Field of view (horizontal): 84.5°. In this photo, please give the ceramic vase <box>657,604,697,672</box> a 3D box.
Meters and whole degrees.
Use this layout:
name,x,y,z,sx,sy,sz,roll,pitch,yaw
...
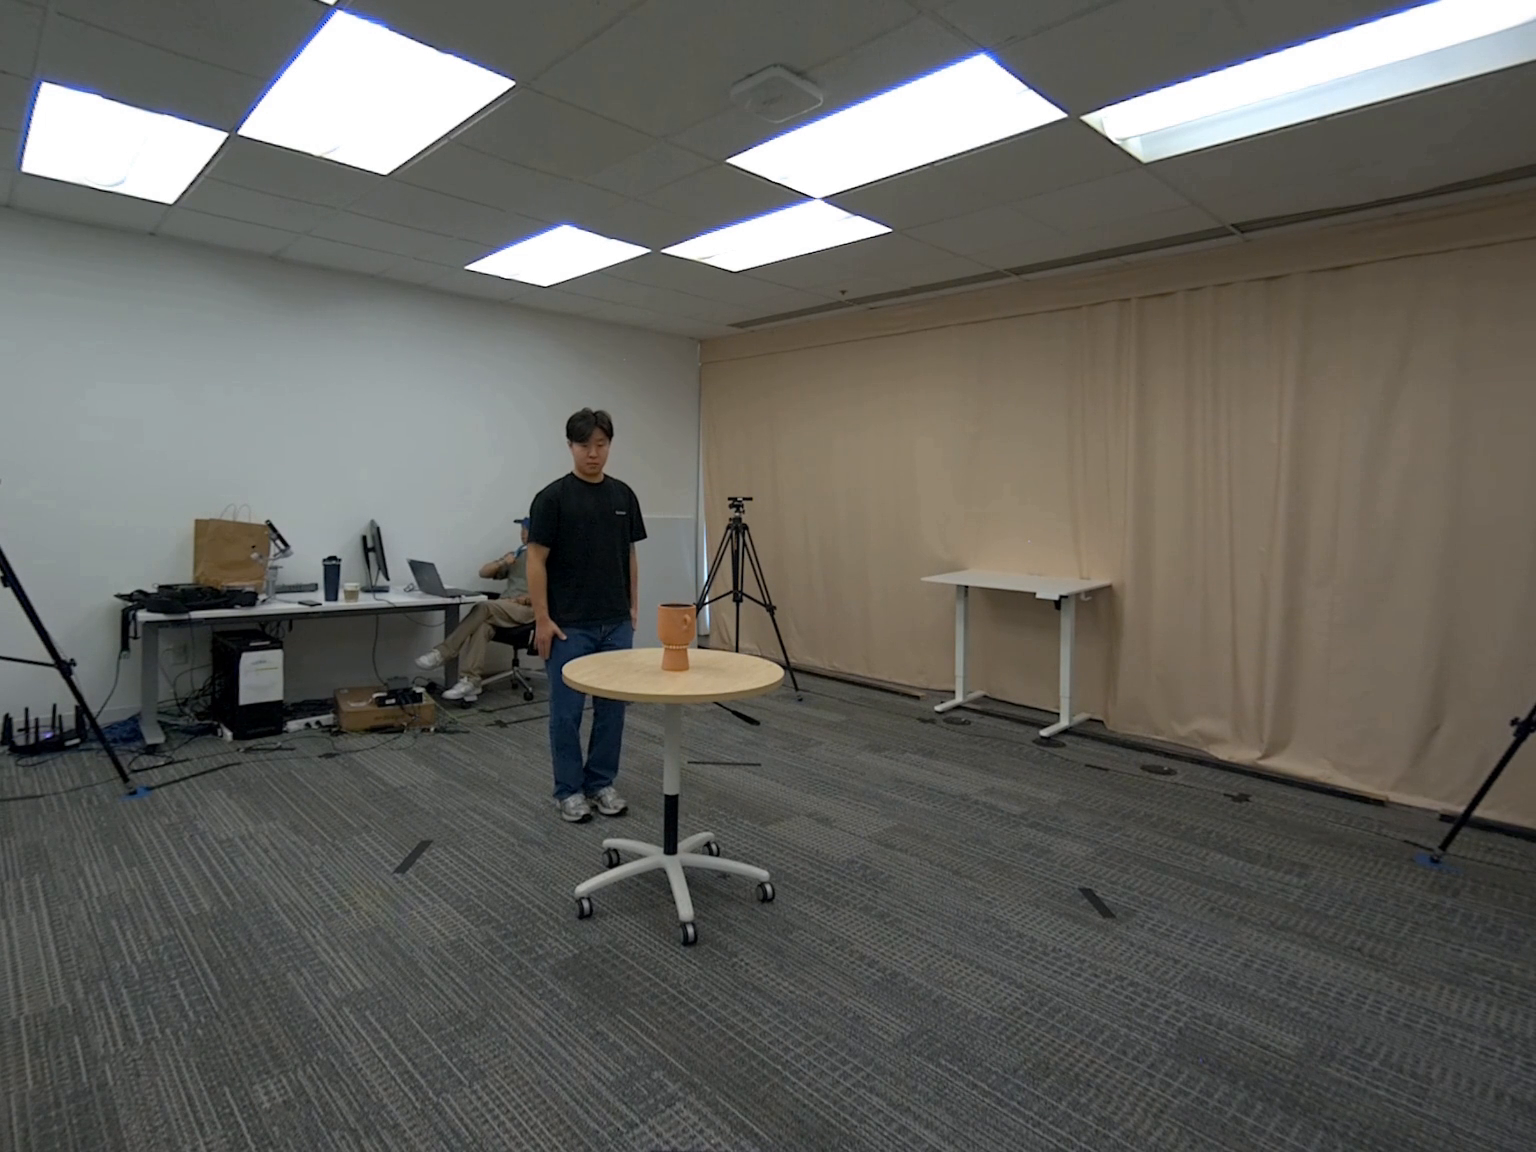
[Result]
name,x,y,z,sx,sy,sz,roll,pitch,yaw
ceramic vase,-0.325,0.216,2.916,0.135,0.219,0.158,2,4,6
